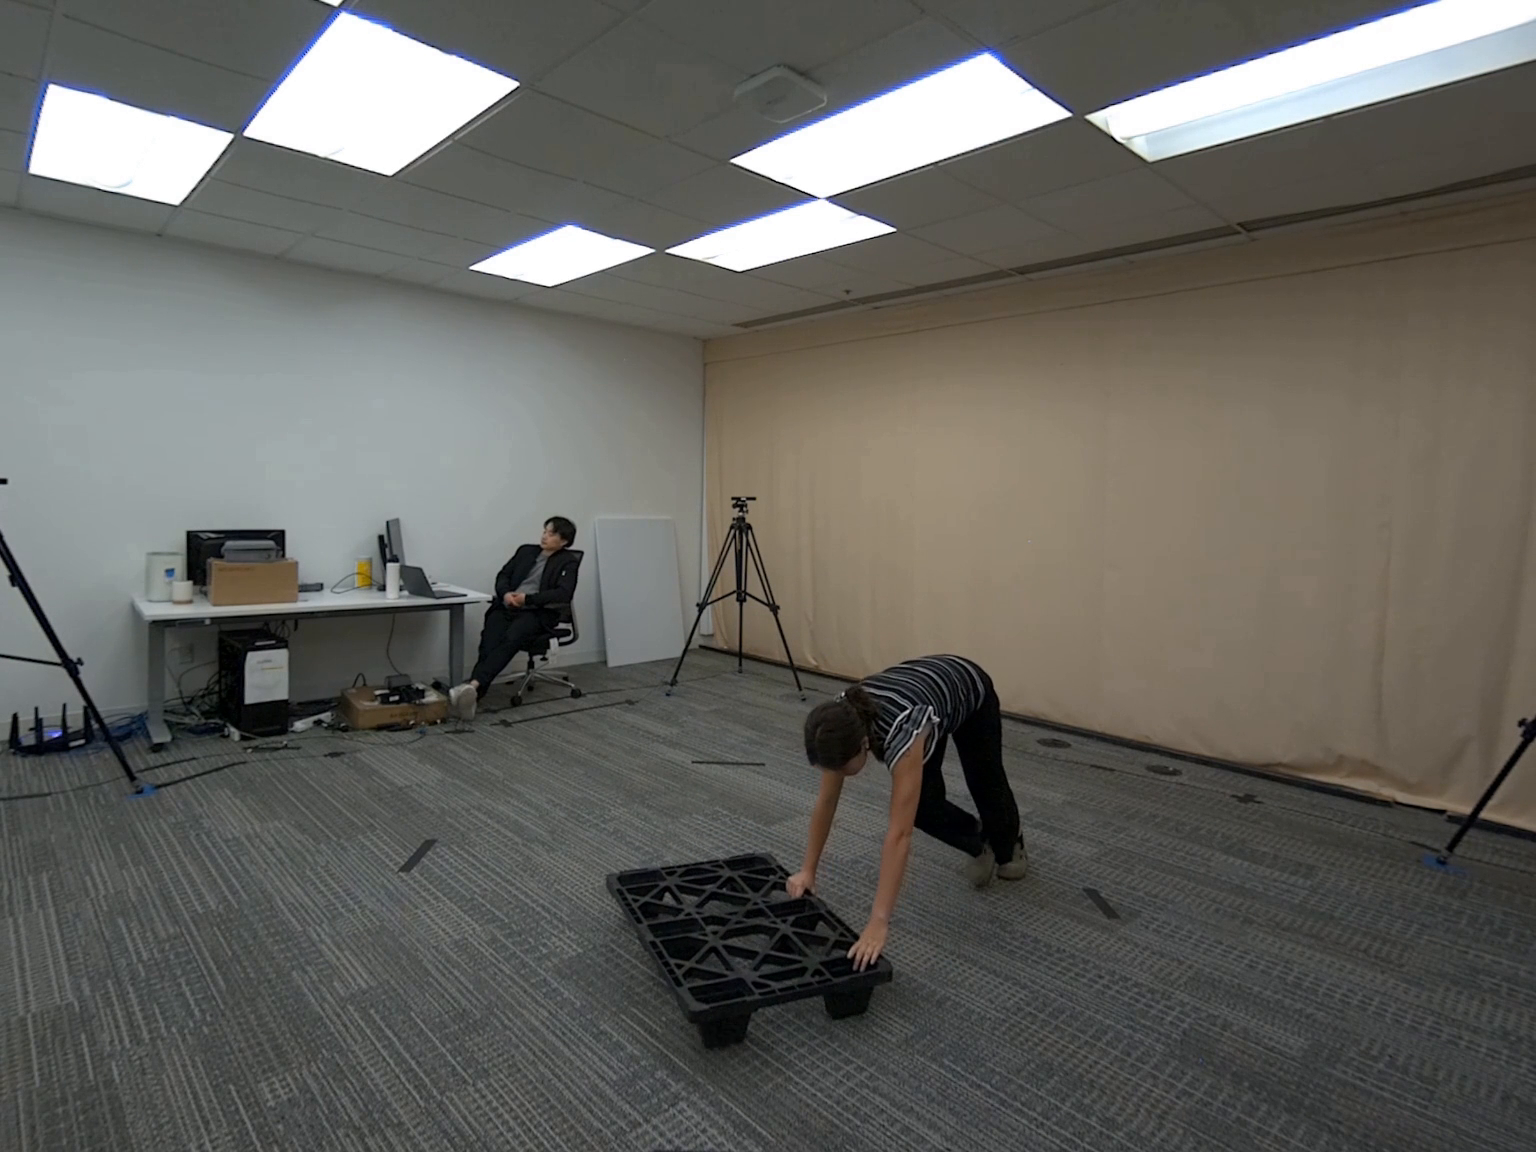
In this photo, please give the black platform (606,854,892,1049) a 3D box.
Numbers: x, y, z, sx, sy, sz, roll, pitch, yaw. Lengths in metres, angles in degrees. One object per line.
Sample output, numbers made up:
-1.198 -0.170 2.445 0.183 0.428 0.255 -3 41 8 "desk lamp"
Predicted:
-0.107 1.090 2.526 0.594 0.143 0.822 0 5 -25 "black platform"
